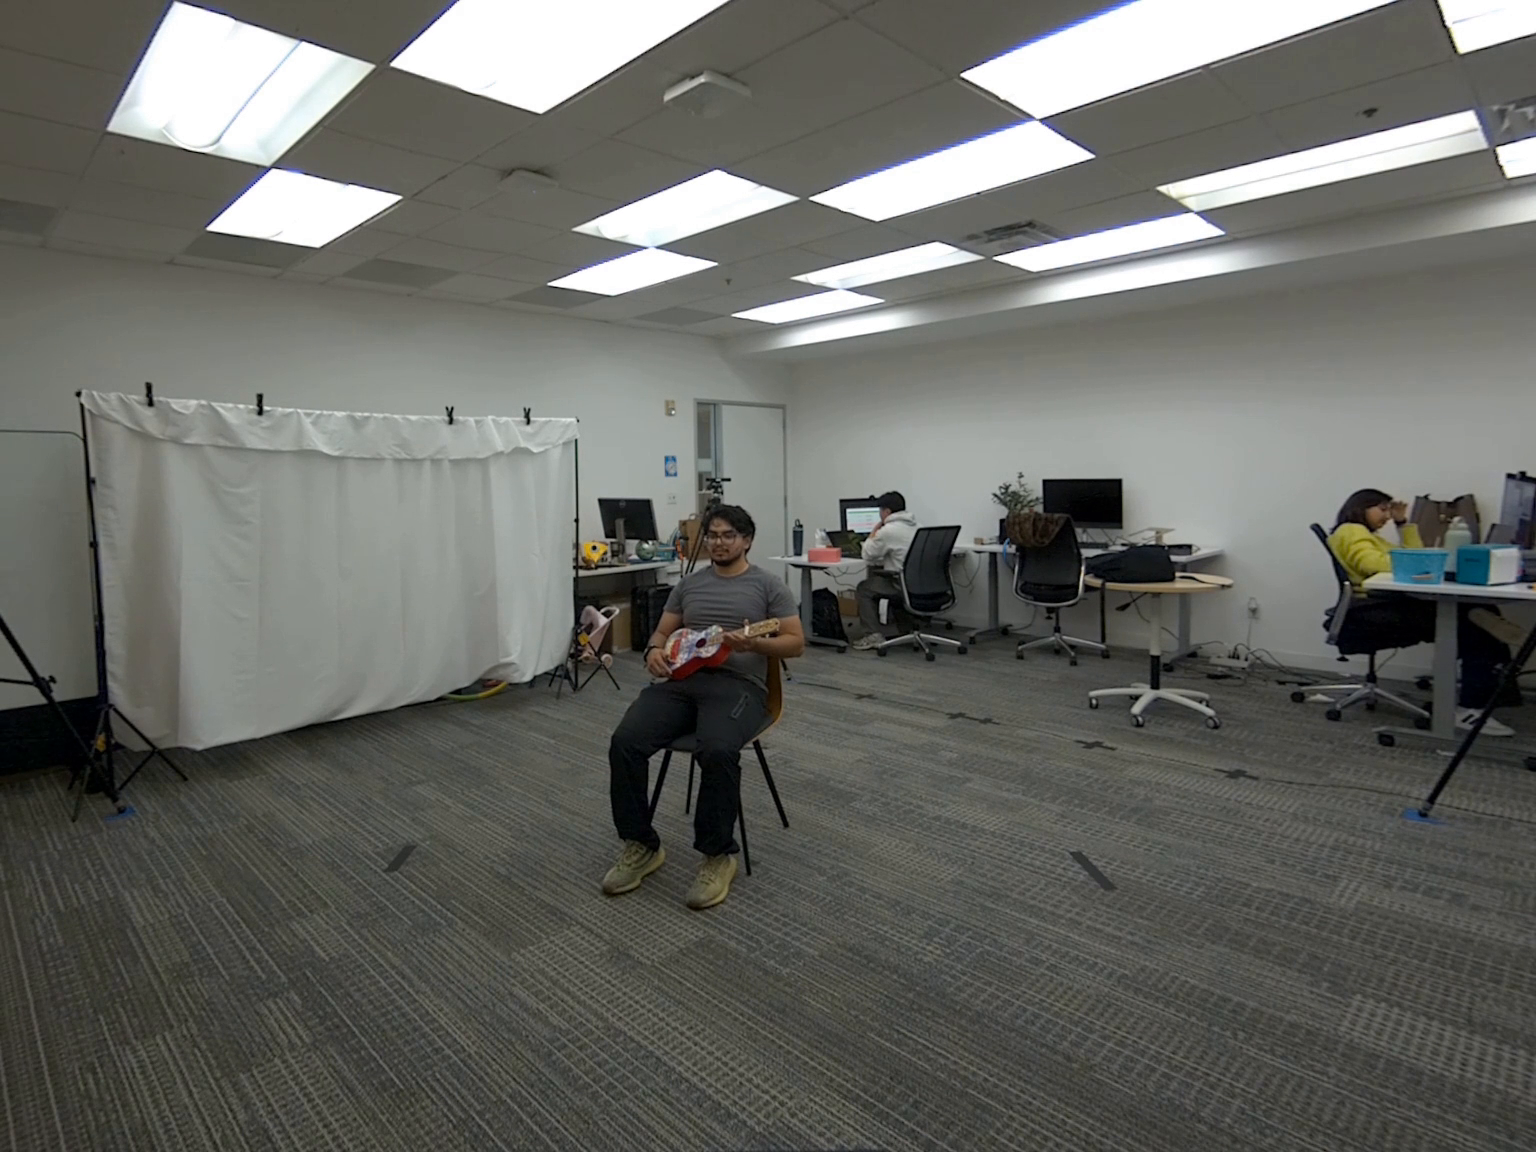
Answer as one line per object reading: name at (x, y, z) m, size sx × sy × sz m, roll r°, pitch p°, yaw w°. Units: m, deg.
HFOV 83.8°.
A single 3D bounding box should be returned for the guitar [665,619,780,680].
guitar at (-0.183, 0.267, 3.108) m, size 0.509 × 0.196 × 0.068 m, roll -9°, pitch -44°, yaw 34°
